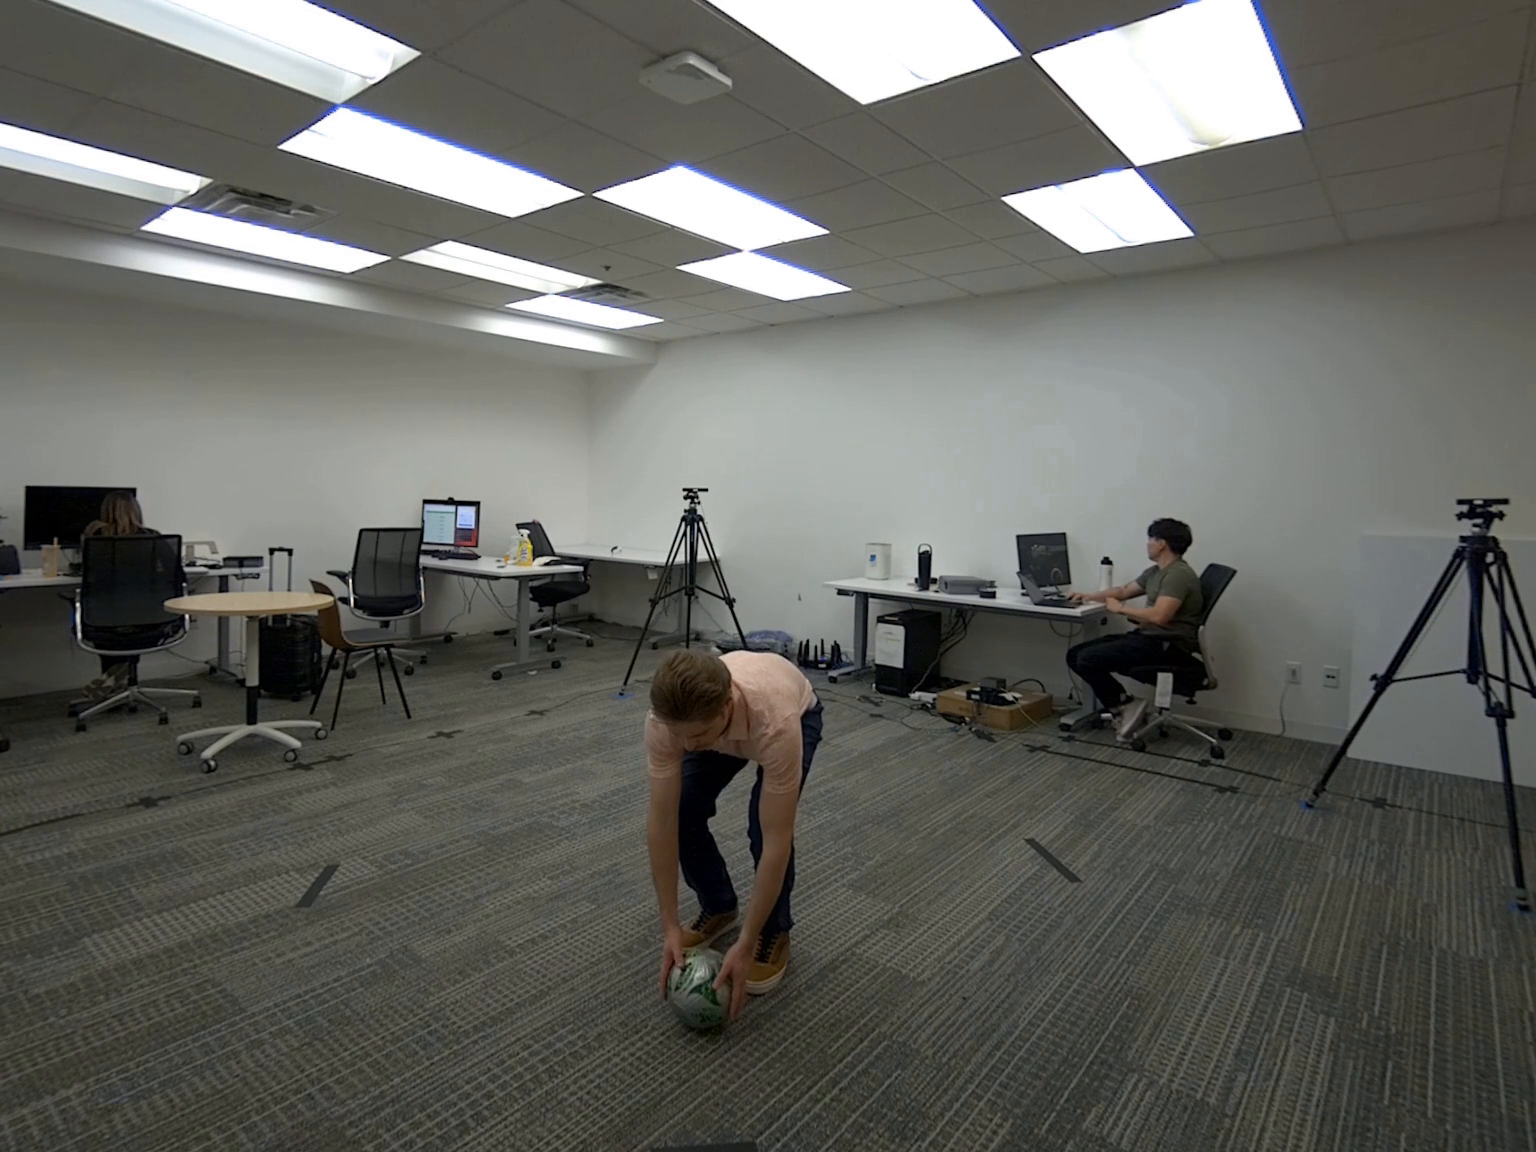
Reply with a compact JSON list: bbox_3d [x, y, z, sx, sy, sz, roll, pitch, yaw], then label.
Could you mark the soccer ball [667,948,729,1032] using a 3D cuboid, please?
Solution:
[{"bbox_3d":[-0.184,1.071,2.208,0.187,0.187,0.188,1,4,-2],"label":"soccer ball"}]
